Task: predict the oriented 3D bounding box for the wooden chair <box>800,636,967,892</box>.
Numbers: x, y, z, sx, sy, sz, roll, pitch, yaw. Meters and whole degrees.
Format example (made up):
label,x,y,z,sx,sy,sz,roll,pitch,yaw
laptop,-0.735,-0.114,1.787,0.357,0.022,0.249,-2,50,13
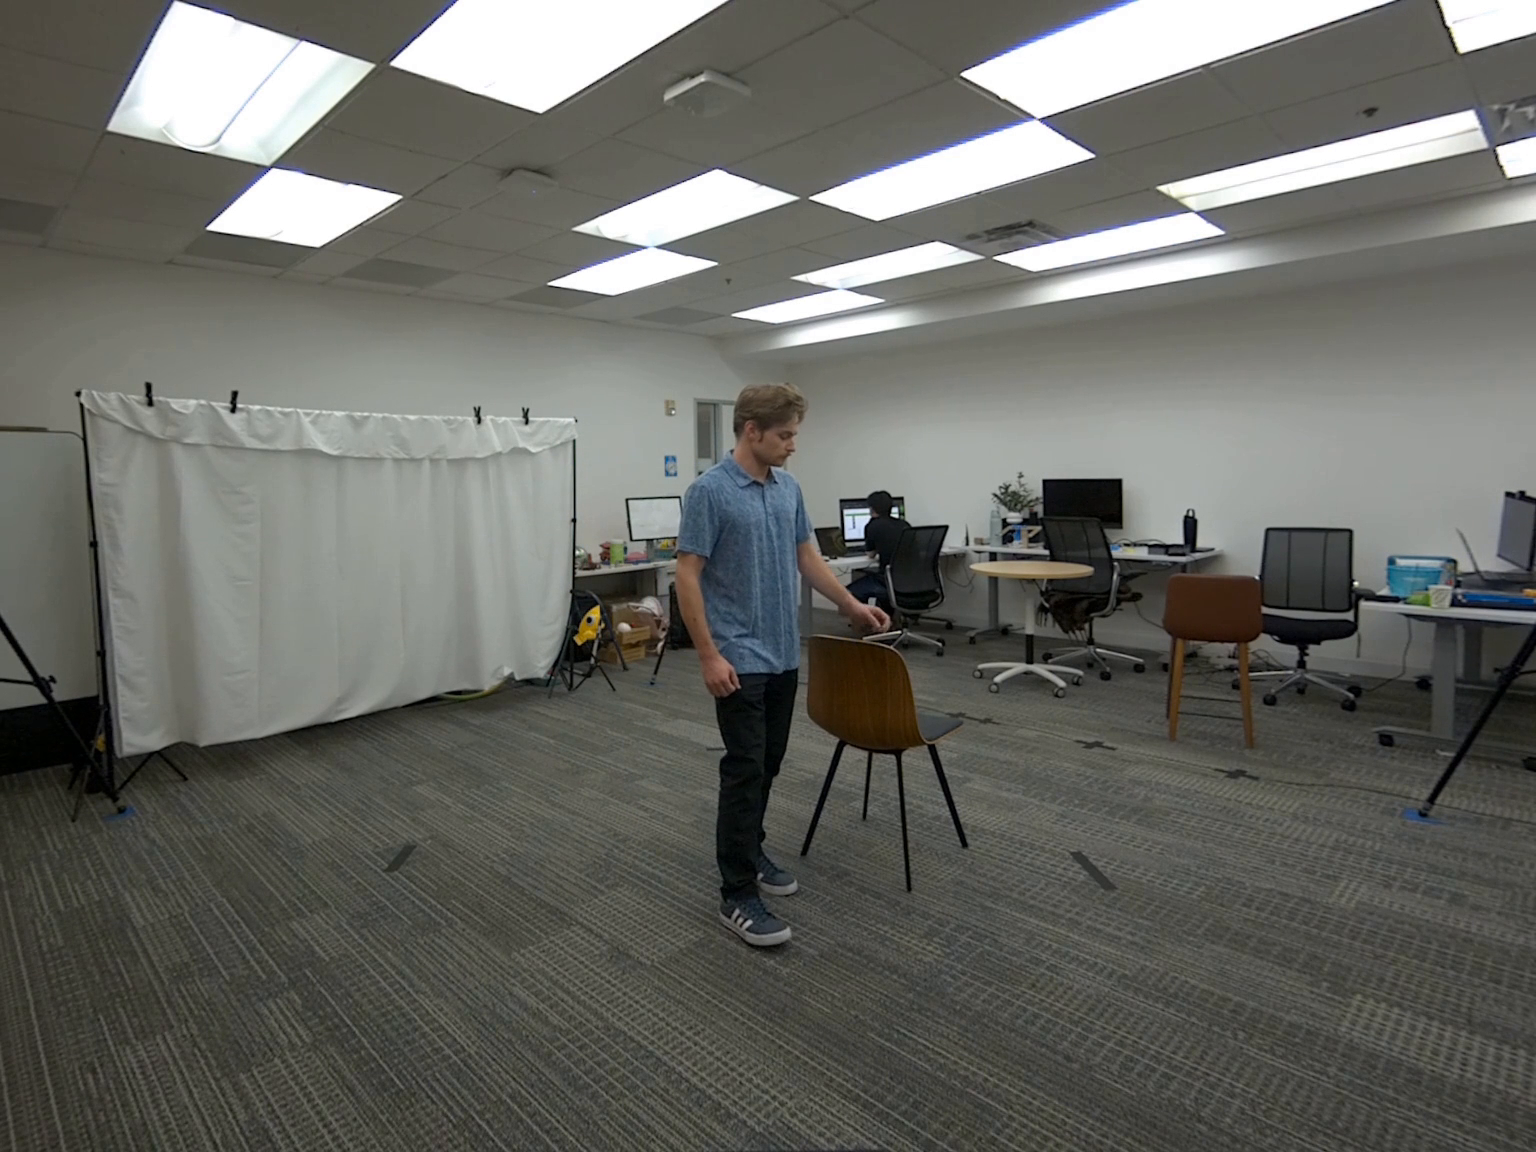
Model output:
label,x,y,z,sx,sy,sz,roll,pitch,yaw
wooden chair,0.431,0.601,3.160,0.492,0.871,0.511,2,10,39
